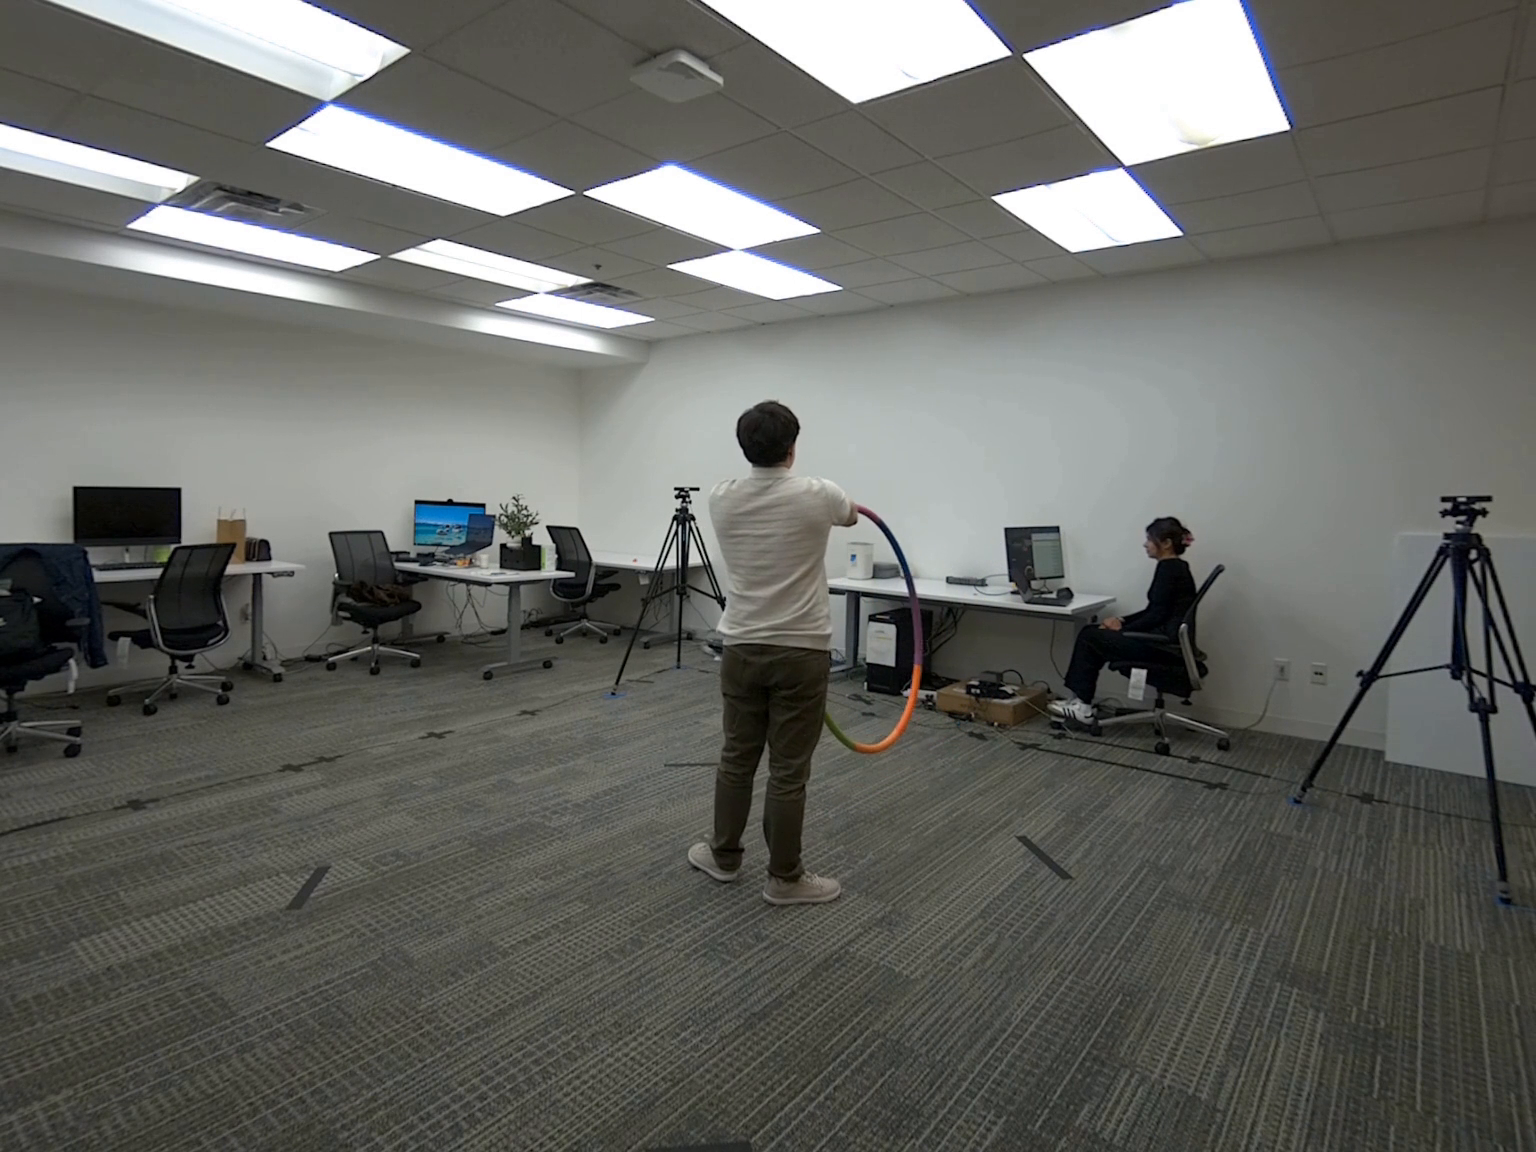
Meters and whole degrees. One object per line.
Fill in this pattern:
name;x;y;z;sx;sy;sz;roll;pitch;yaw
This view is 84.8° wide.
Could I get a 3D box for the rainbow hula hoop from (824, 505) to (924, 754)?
rainbow hula hoop;0.388;0.201;3.428;0.036;0.982;0.951;-10;-3;36
